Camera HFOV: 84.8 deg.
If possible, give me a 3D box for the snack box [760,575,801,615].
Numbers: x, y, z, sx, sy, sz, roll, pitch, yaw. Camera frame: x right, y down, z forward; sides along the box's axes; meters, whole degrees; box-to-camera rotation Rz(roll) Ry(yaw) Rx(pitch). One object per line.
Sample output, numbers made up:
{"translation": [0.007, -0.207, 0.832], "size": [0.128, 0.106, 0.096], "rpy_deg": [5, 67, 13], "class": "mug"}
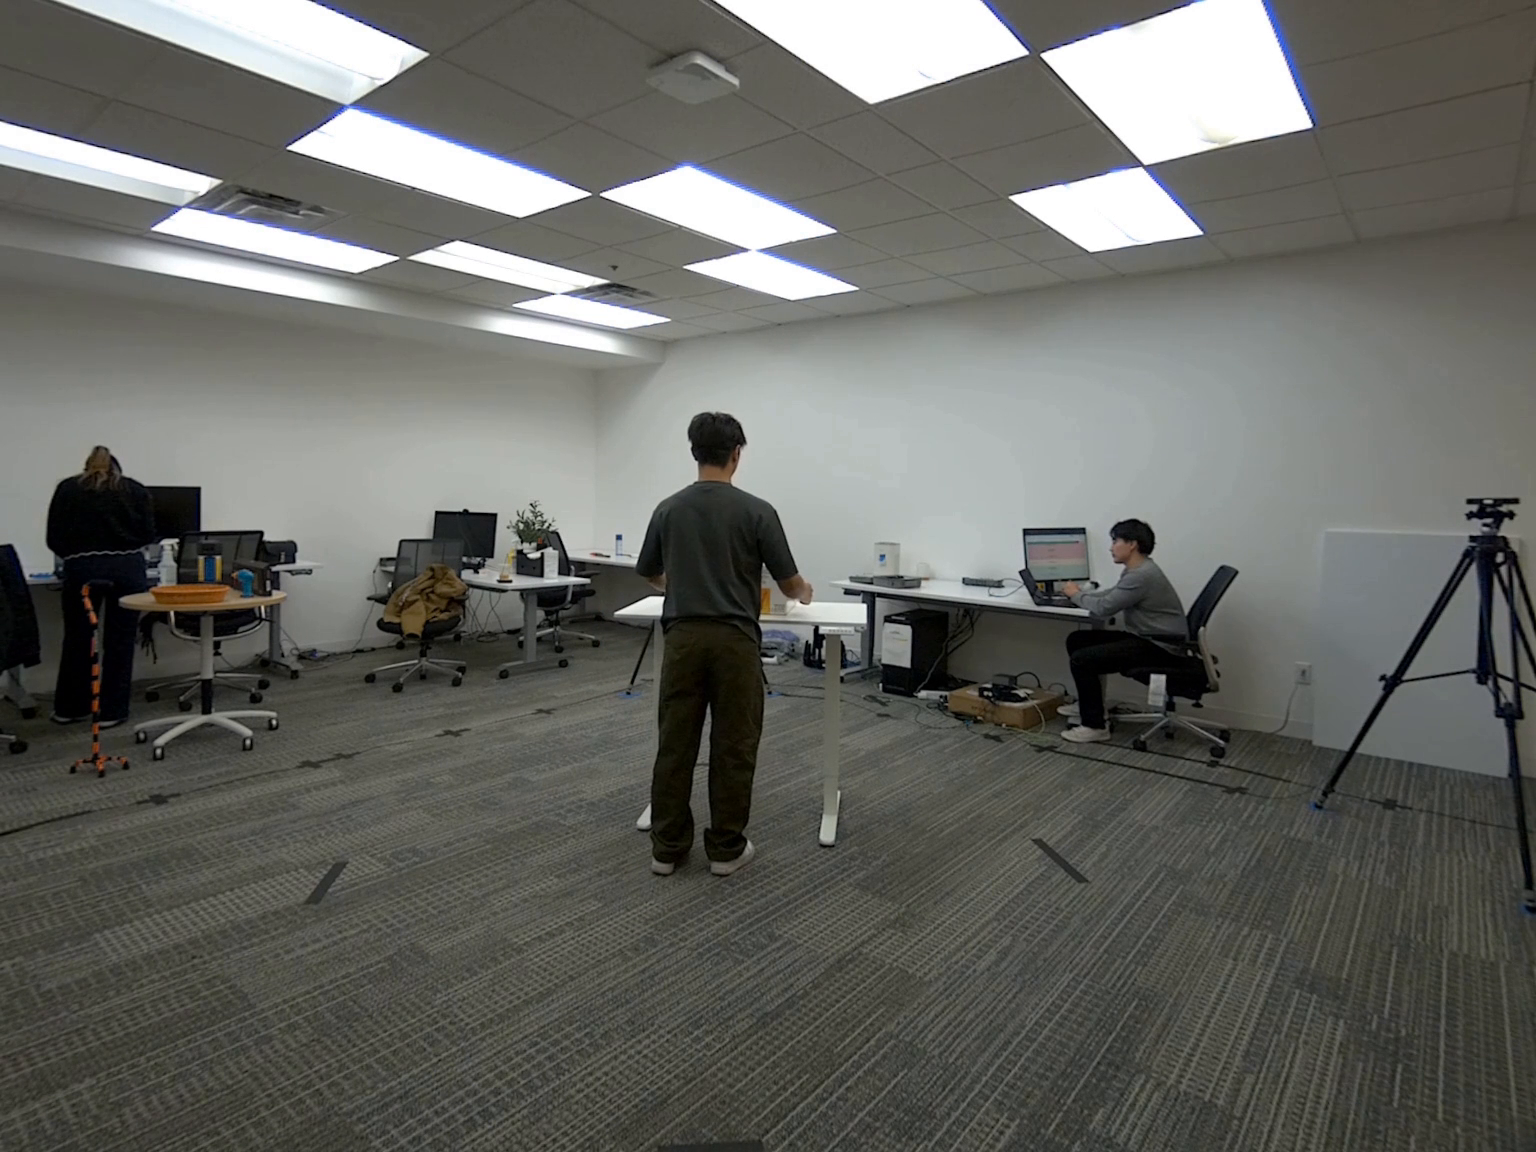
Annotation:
{"translation": [-0.107, 0.034, 3.622], "size": [0.410, 0.205, 0.337], "rpy_deg": [2, 5, 11], "class": "snack box"}
